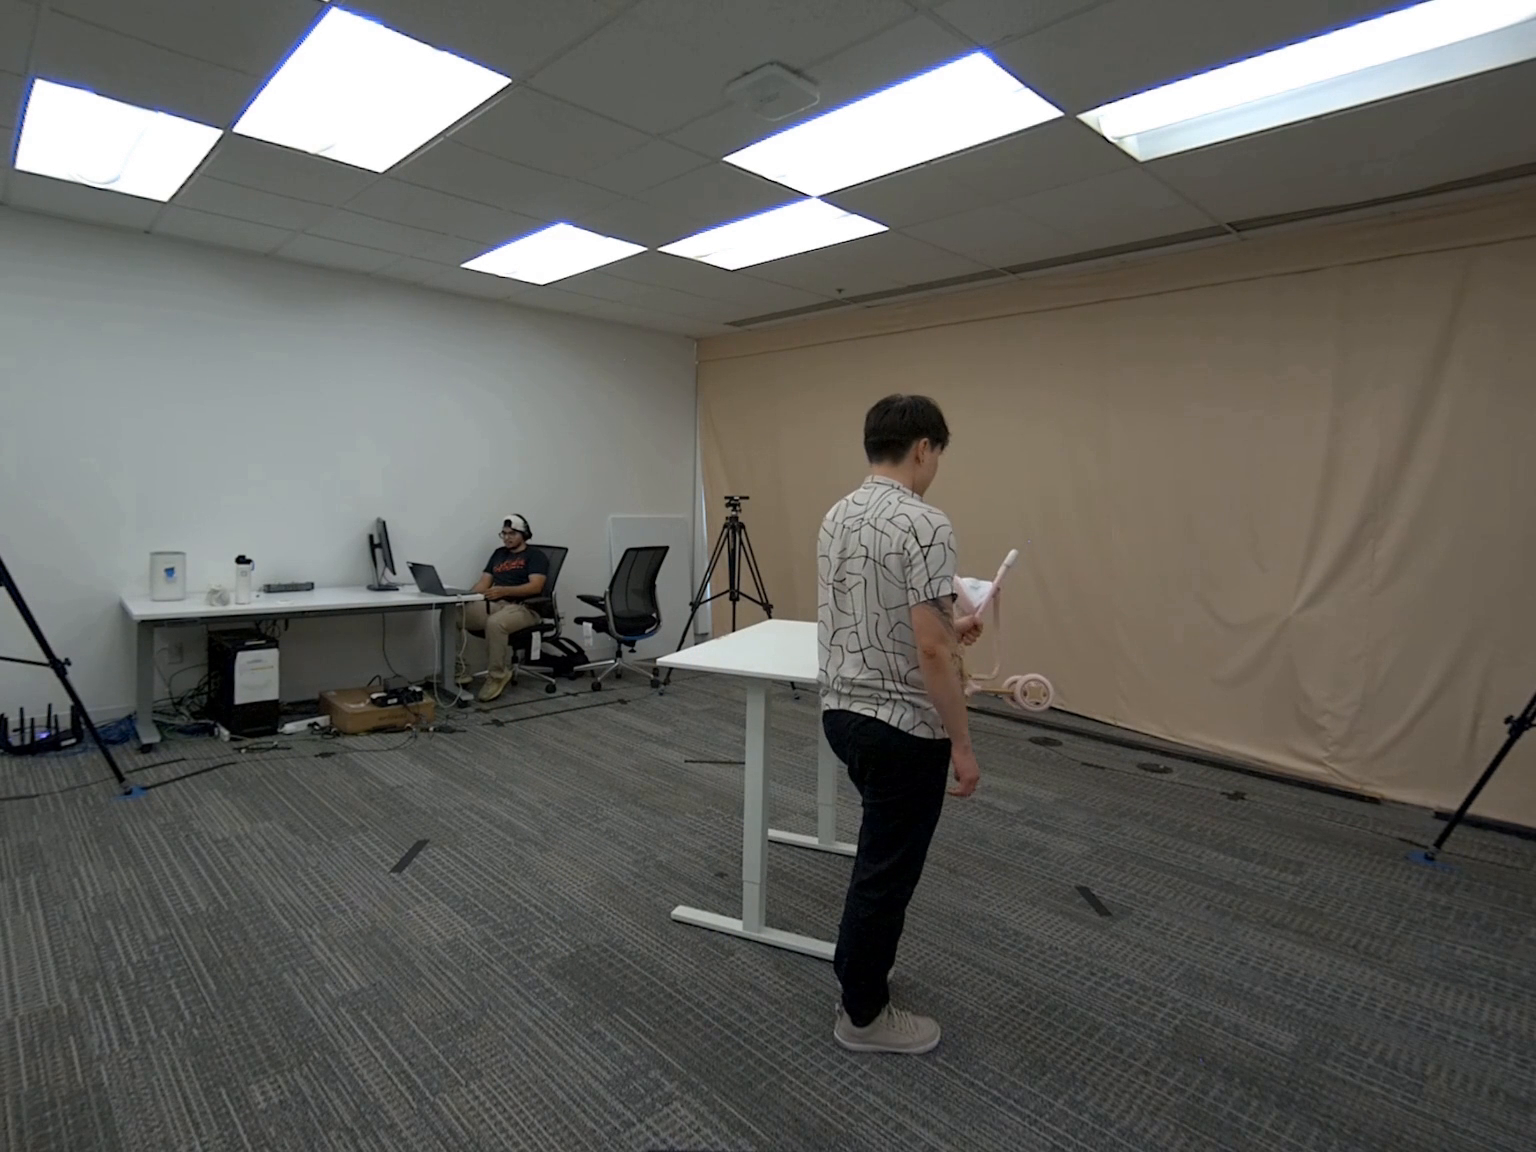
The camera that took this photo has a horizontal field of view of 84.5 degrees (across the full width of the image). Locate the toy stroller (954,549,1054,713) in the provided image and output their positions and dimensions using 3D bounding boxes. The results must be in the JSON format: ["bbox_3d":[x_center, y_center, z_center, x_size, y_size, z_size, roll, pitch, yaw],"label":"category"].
[{"bbox_3d":[0.637,0.220,2.575,0.344,0.539,0.277,-10,-9,11],"label":"toy stroller"}]
